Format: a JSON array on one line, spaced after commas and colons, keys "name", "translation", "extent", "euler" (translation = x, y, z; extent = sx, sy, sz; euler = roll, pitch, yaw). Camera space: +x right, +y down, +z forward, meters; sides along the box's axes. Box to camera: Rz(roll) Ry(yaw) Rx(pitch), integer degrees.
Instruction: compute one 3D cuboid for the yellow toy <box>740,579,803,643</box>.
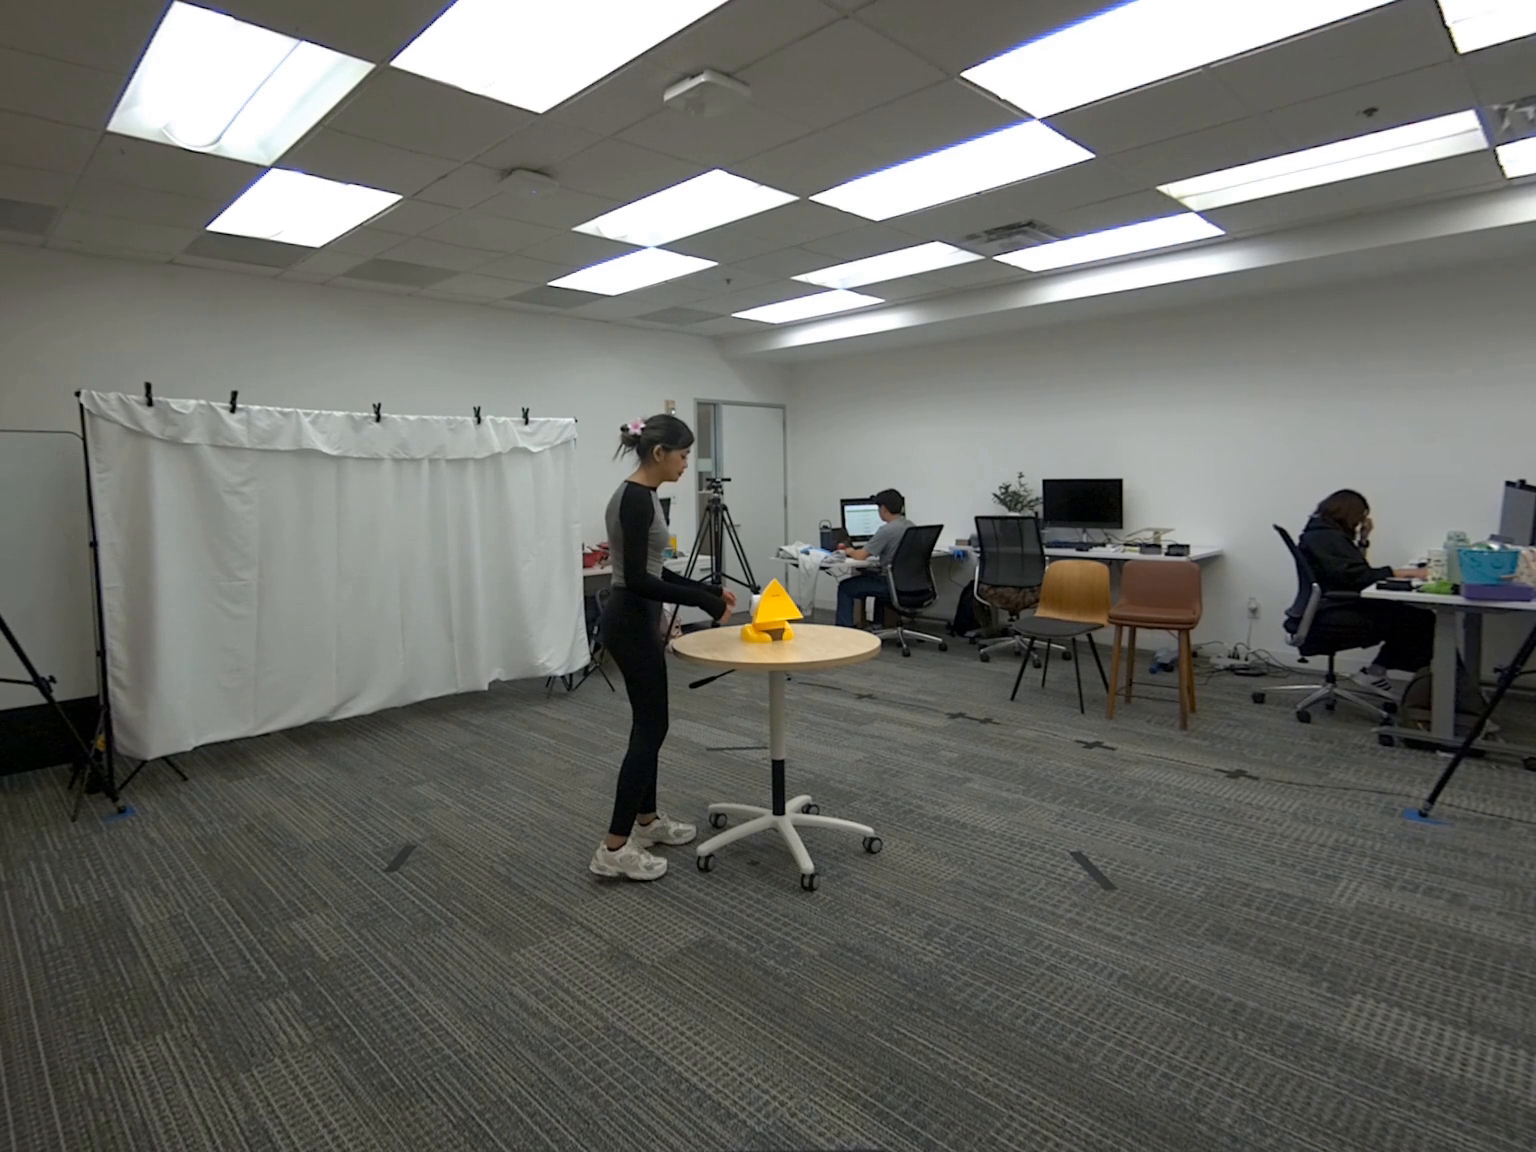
[{"name": "yellow toy", "translation": [-0.004, 0.121, 3.223], "extent": [0.200, 0.230, 0.198], "euler": [-4, 4, -29]}]
